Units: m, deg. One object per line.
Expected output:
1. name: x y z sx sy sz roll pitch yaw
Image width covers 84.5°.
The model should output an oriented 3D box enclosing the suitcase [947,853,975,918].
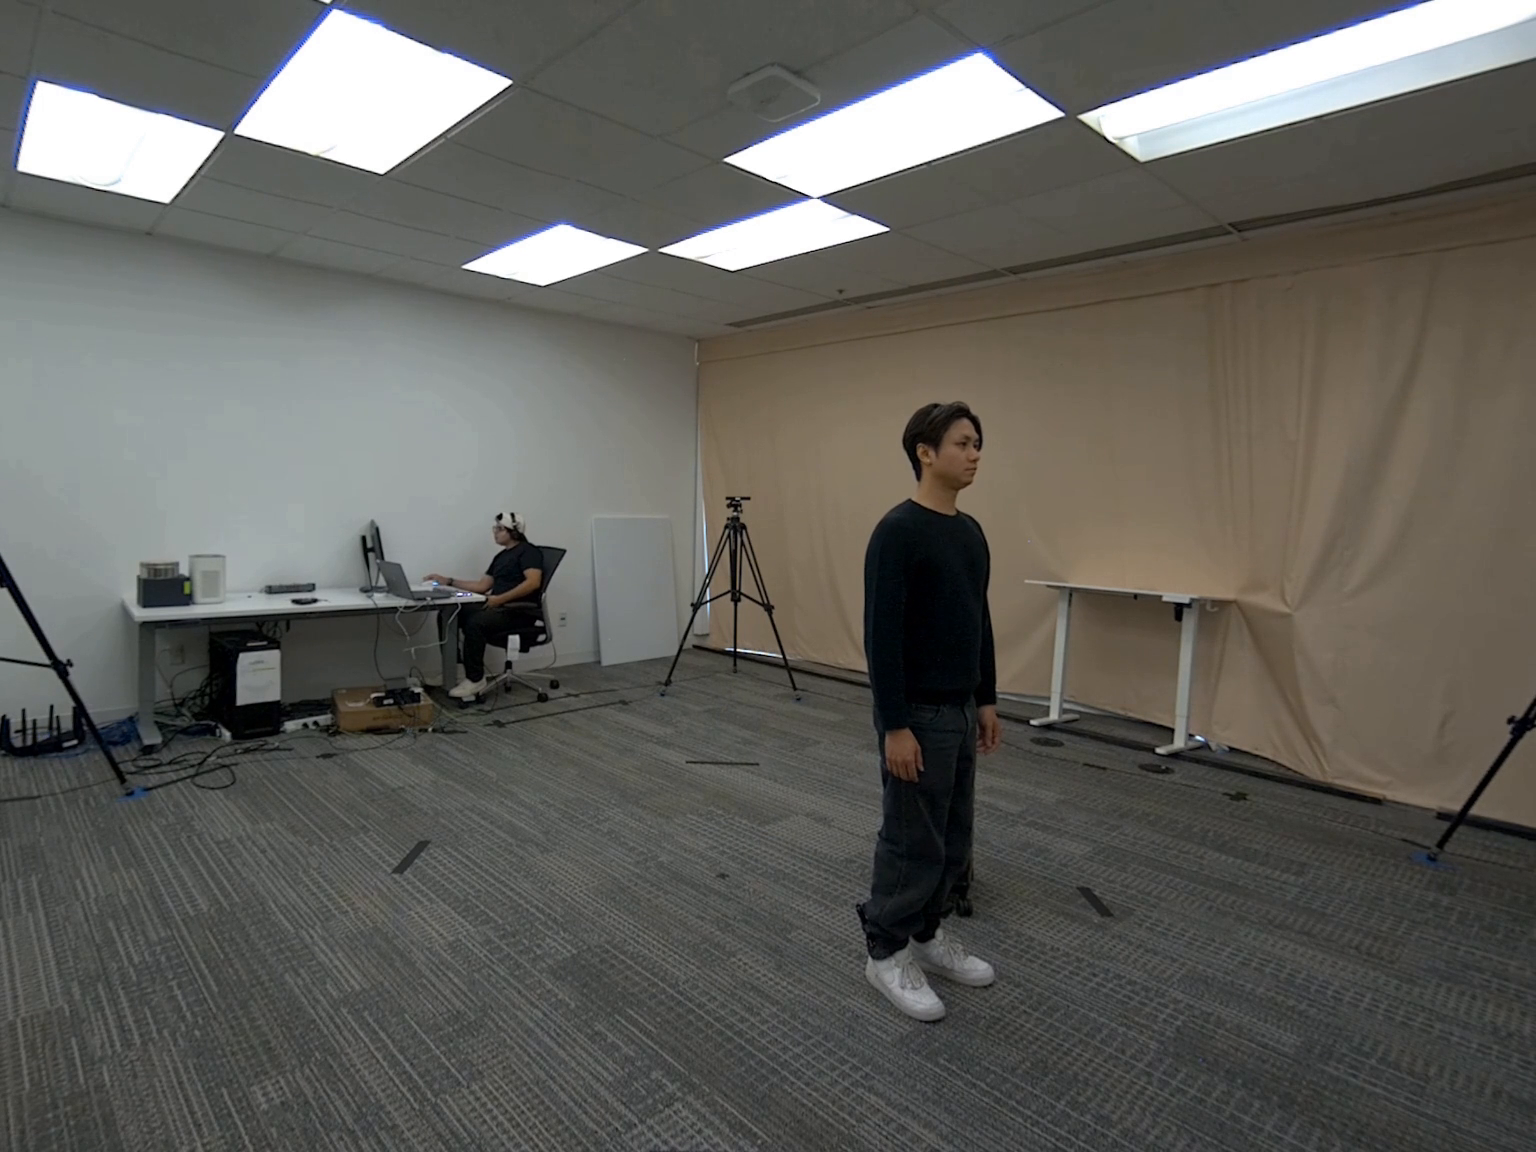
1. suitcase: 0.613 0.862 3.028 0.252 0.549 0.371 2 2 16
